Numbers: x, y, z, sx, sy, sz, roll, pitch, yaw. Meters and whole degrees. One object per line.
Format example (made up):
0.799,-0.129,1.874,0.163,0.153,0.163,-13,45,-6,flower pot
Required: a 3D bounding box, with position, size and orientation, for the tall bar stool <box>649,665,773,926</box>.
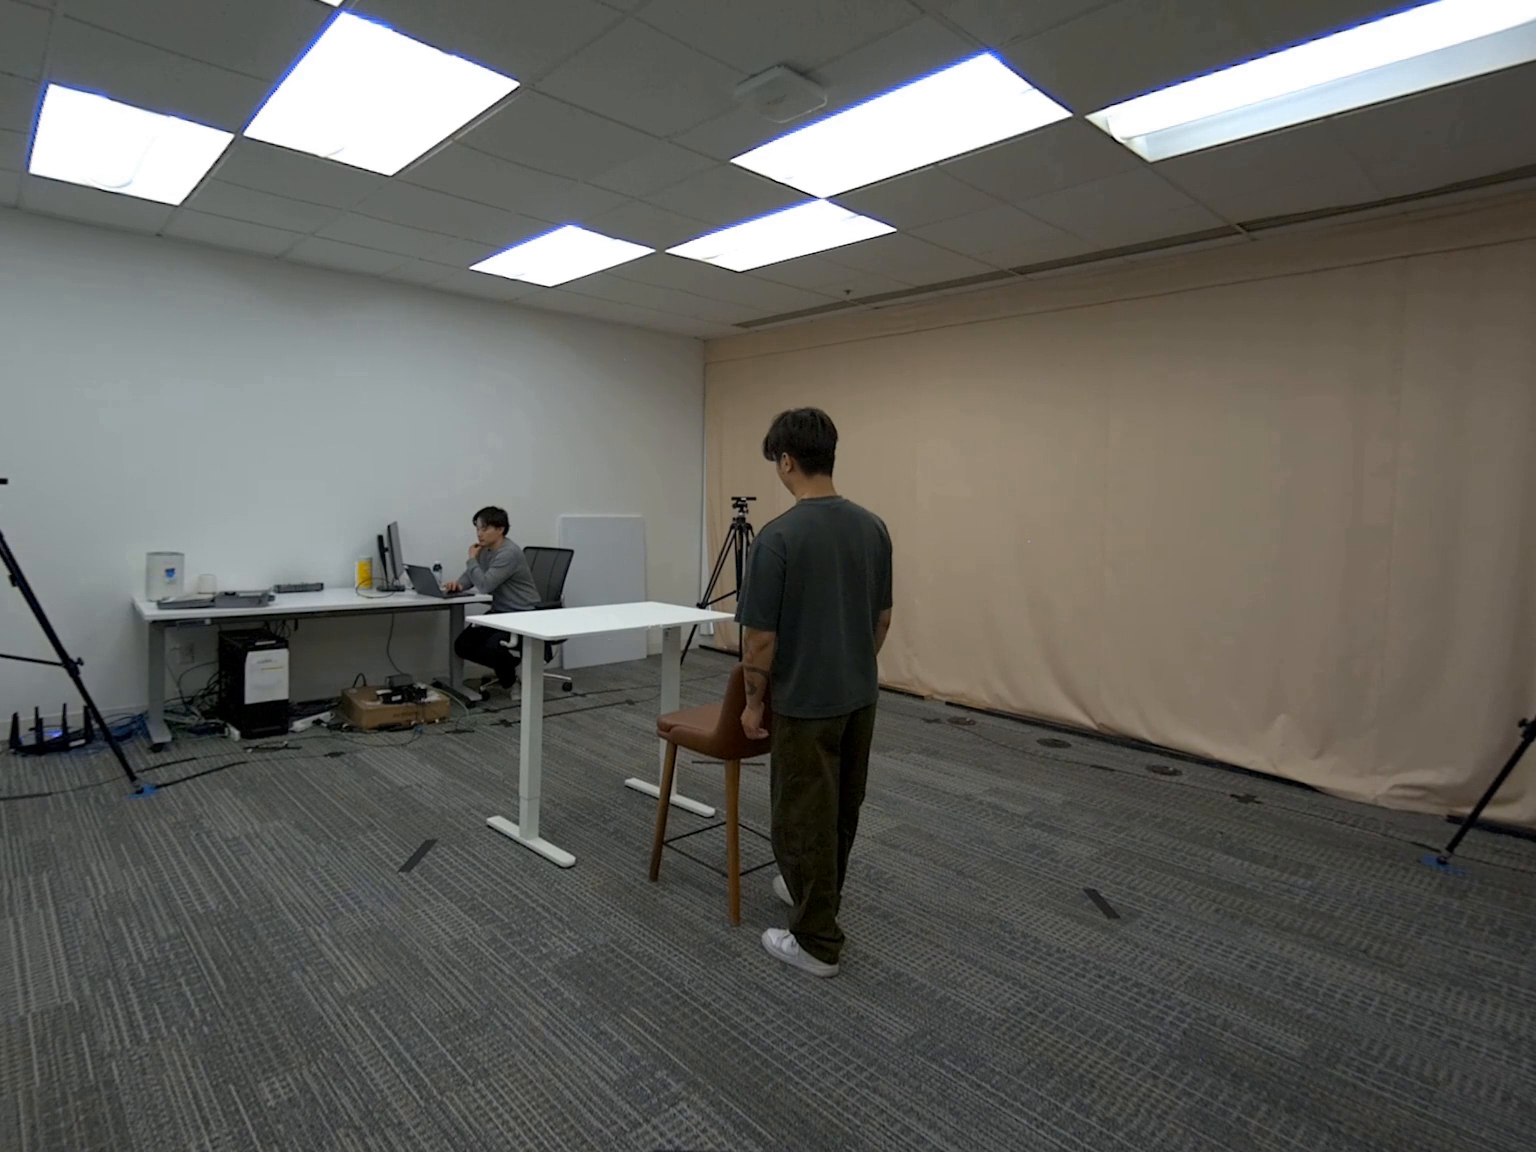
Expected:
-0.125,0.680,2.996,0.446,0.887,0.480,-2,6,-44,tall bar stool
